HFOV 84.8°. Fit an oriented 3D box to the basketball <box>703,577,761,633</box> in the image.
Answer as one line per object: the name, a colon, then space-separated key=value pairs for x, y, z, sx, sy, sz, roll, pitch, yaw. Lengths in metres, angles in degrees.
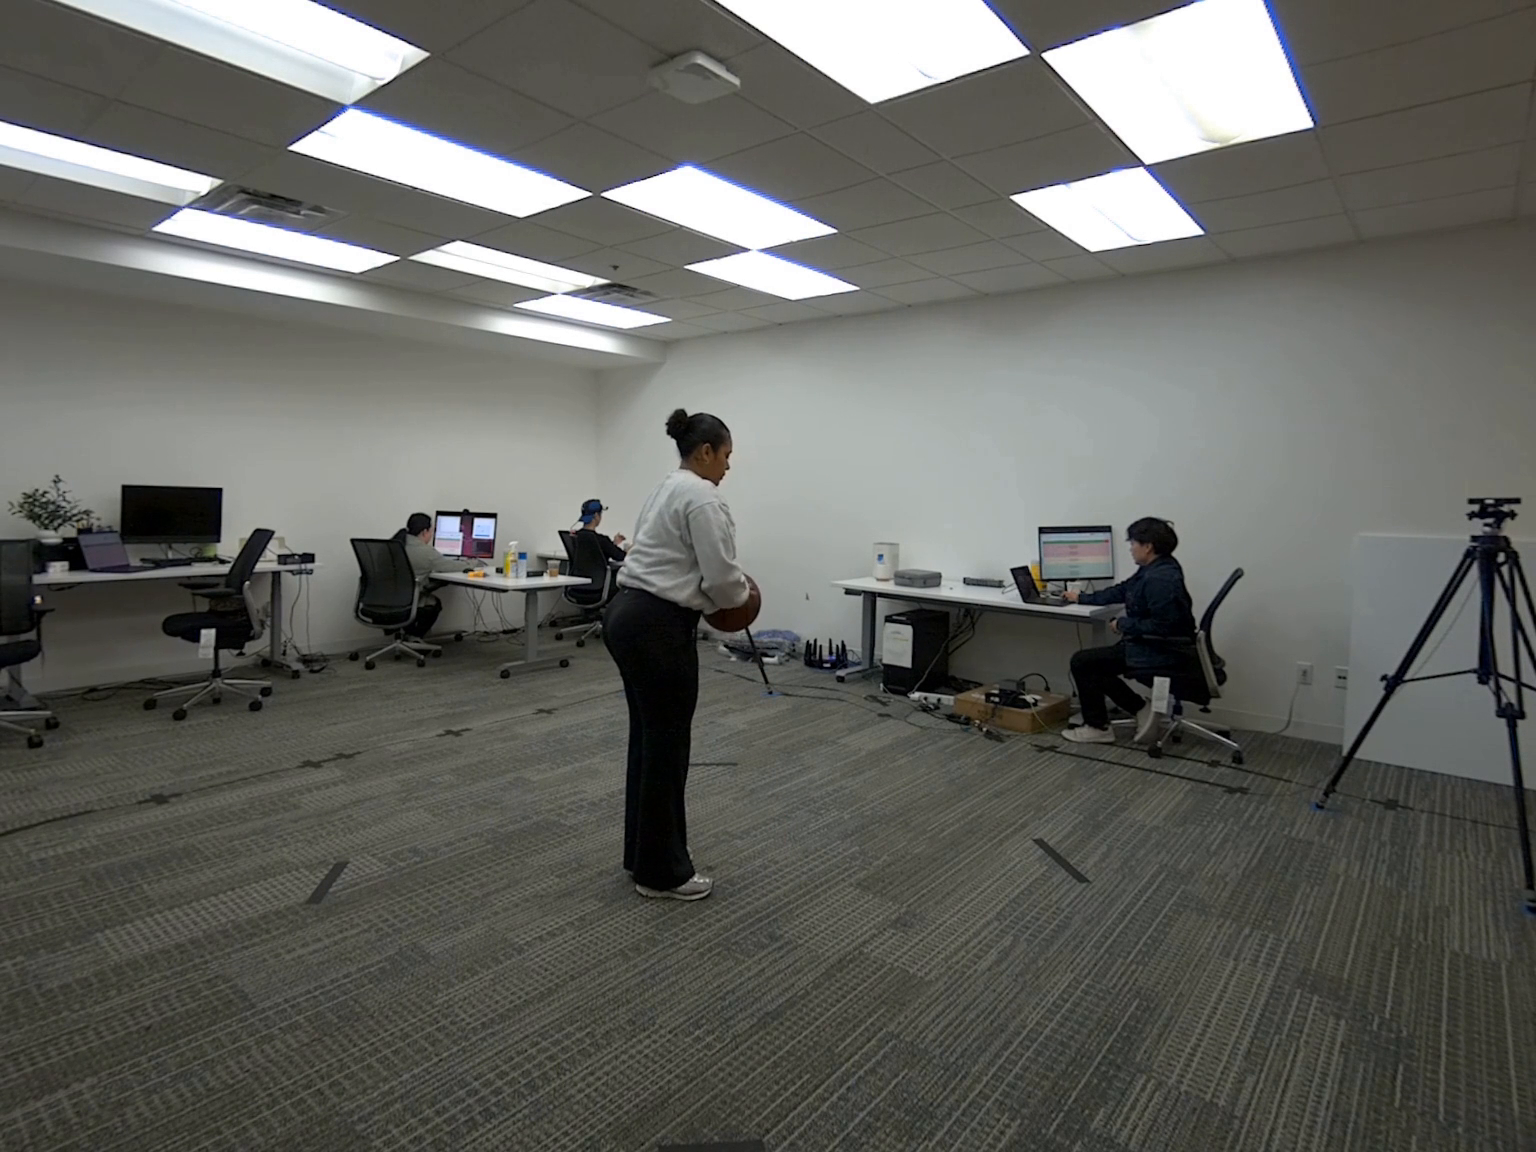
basketball: x=-0.163 y=0.098 z=3.227 sx=0.235 sy=0.235 sz=0.237 roll=1 pitch=4 yaw=-2
